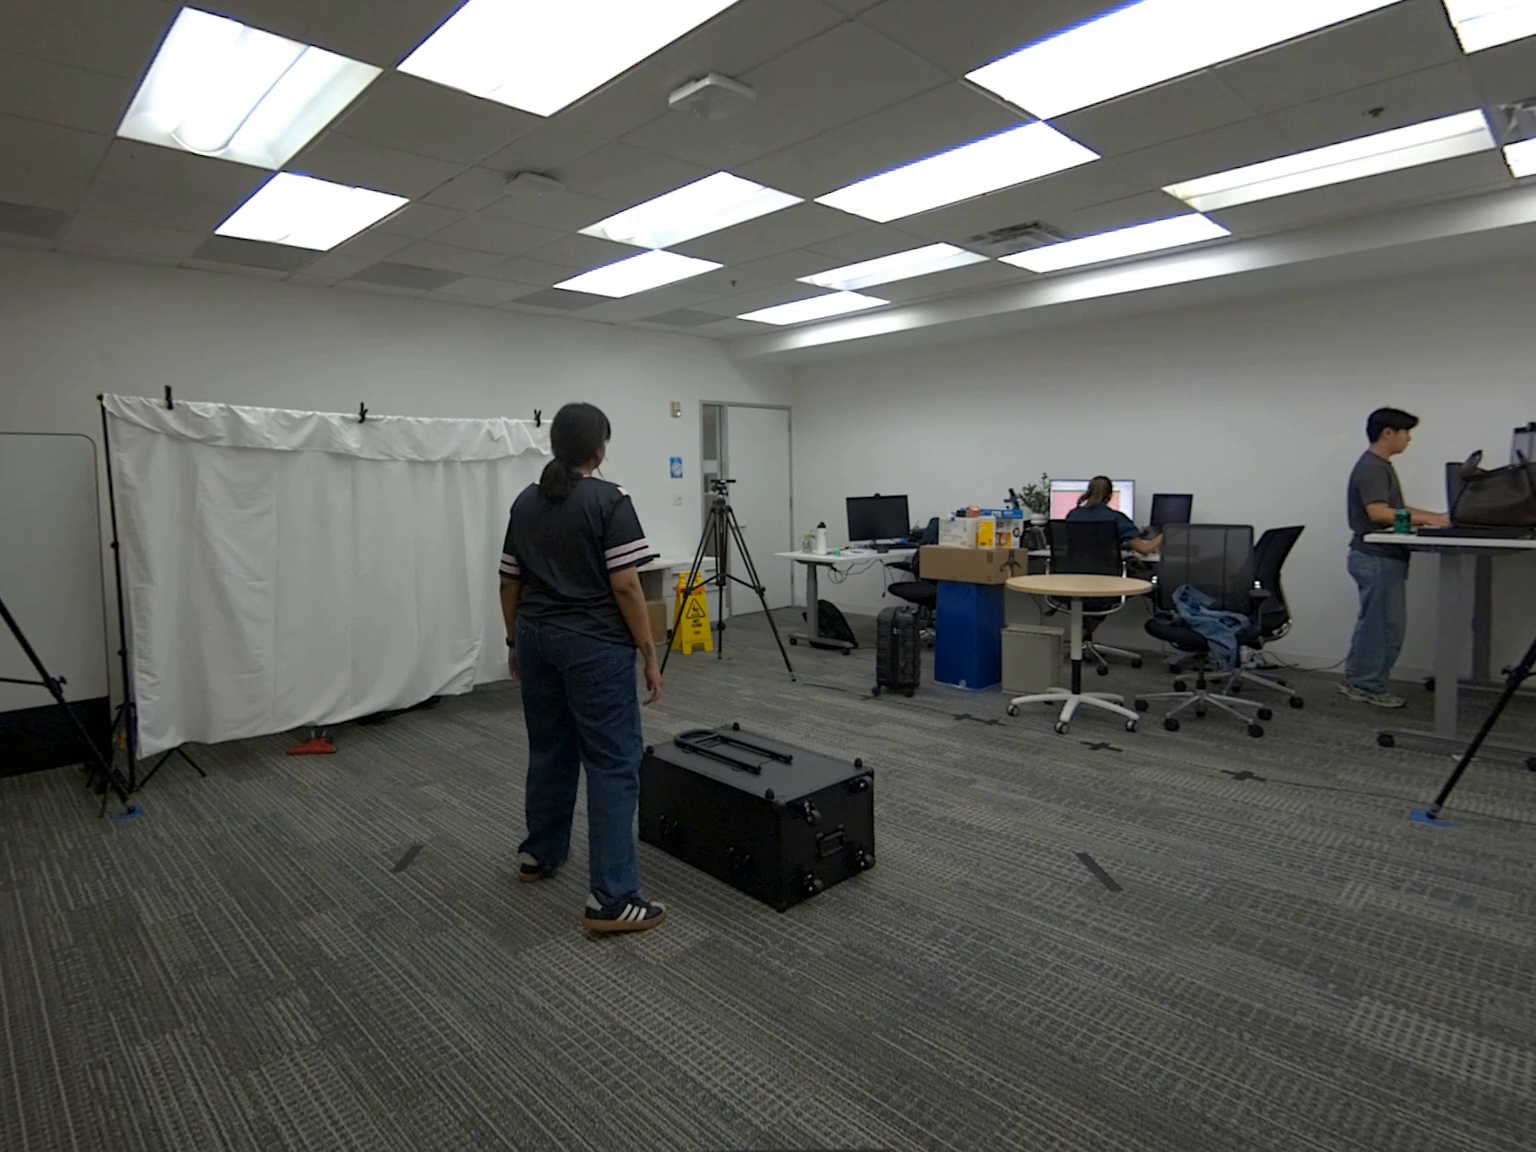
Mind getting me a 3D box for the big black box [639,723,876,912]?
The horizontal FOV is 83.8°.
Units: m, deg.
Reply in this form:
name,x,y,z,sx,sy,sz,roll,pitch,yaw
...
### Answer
name,x,y,z,sx,sy,sz,roll,pitch,yaw
big black box,-0.029,0.856,3.171,0.509,0.384,0.895,-5,7,-43
